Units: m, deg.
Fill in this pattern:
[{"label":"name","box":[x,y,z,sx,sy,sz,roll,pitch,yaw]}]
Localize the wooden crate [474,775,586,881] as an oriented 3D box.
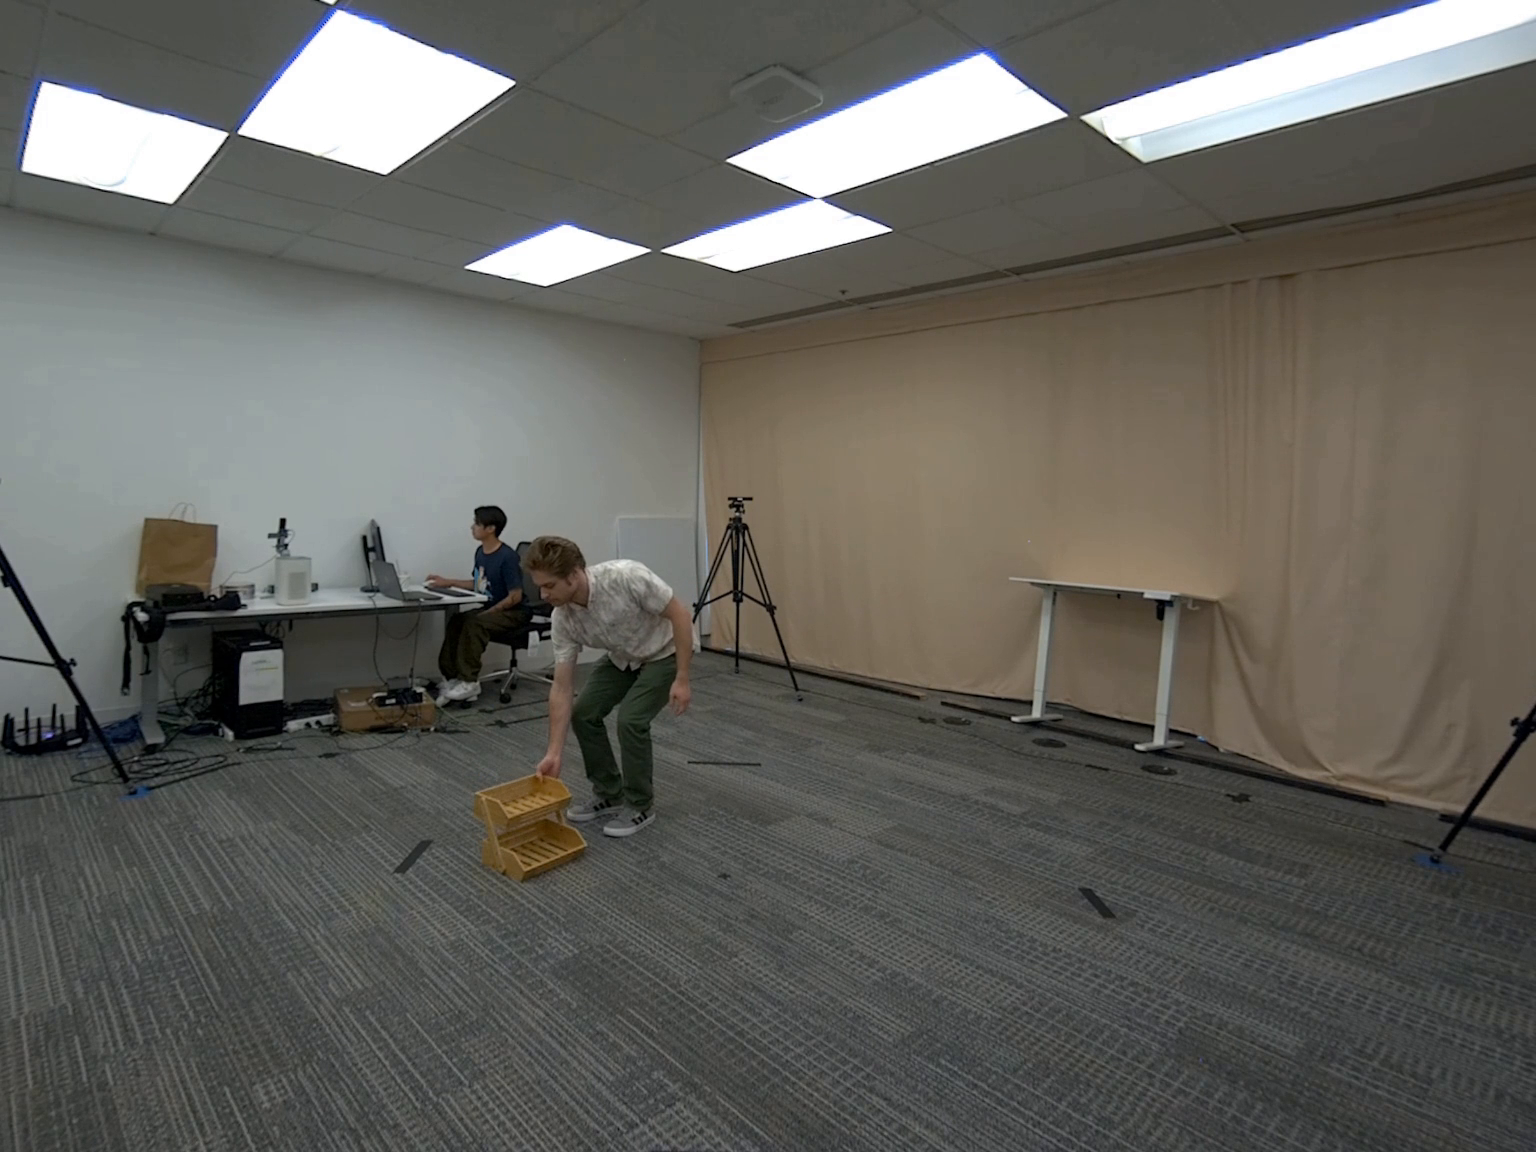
[{"label":"wooden crate","box":[-0.909,0.943,3.208,0.309,0.272,0.318,4,6,36]}]
